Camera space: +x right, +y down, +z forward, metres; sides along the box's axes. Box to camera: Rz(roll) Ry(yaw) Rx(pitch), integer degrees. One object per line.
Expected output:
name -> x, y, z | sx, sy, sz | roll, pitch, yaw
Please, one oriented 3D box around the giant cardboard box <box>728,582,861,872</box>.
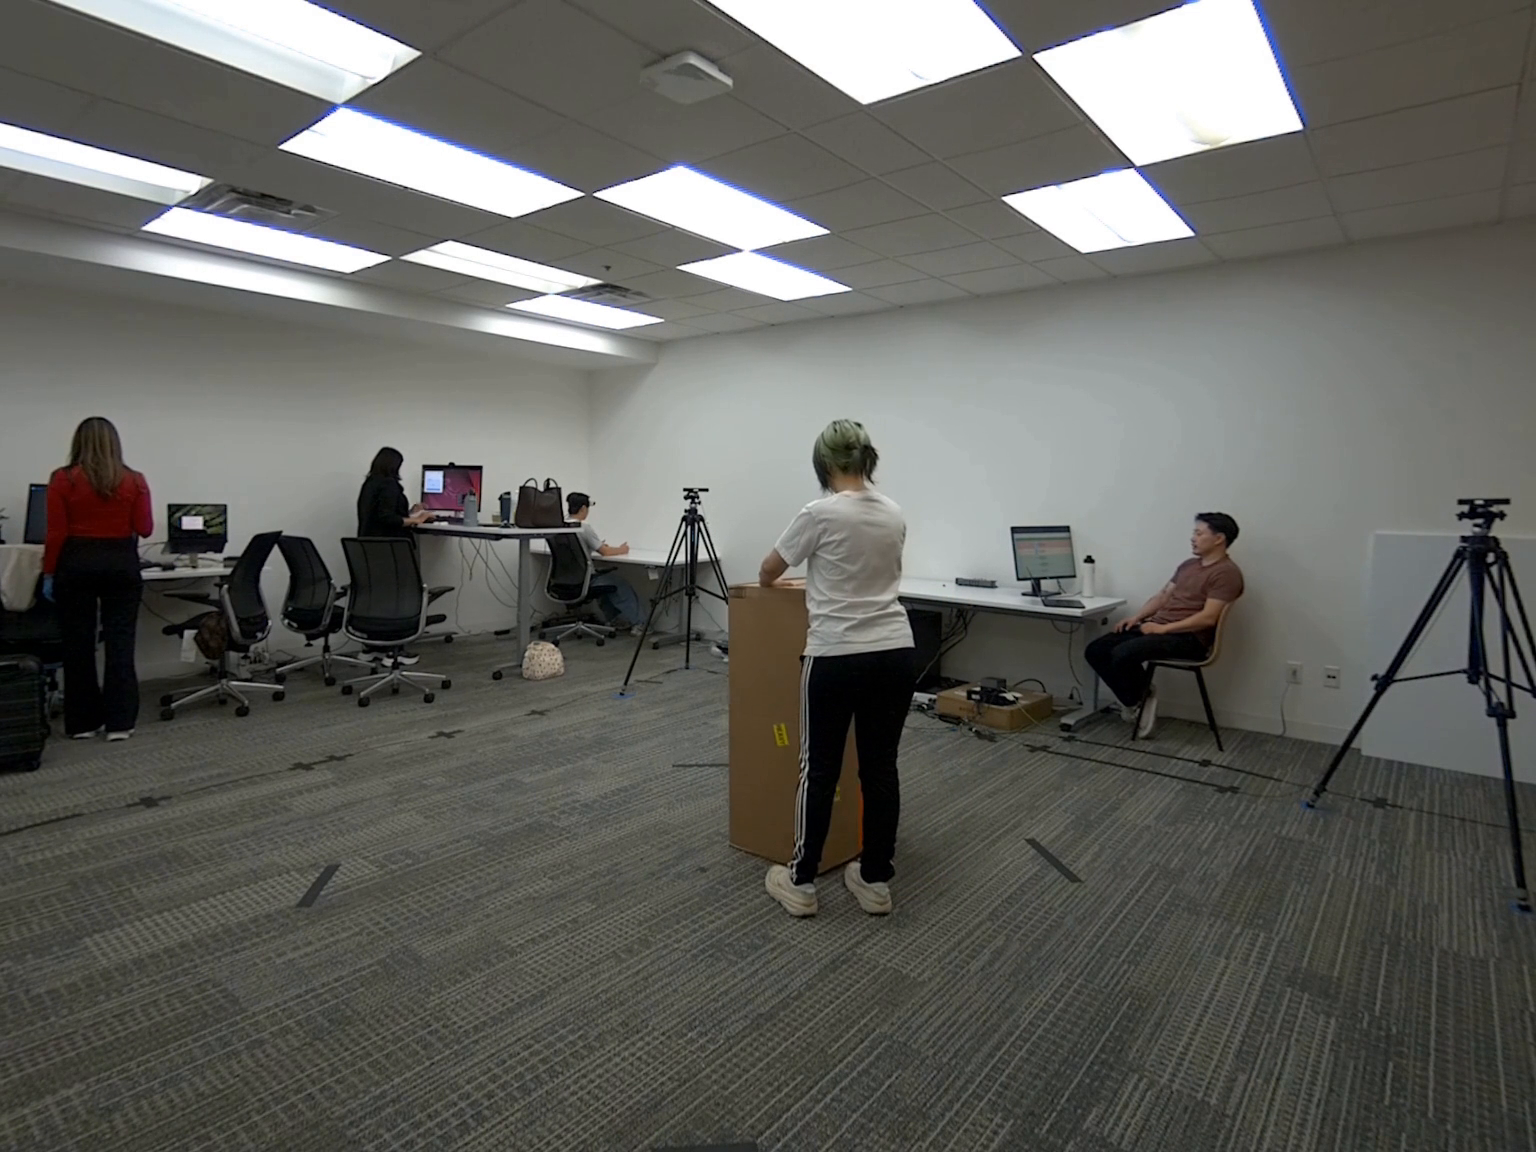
giant cardboard box -> 0.179, 0.541, 3.392 | 0.461, 1.026, 0.566 | 0, 1, 37
